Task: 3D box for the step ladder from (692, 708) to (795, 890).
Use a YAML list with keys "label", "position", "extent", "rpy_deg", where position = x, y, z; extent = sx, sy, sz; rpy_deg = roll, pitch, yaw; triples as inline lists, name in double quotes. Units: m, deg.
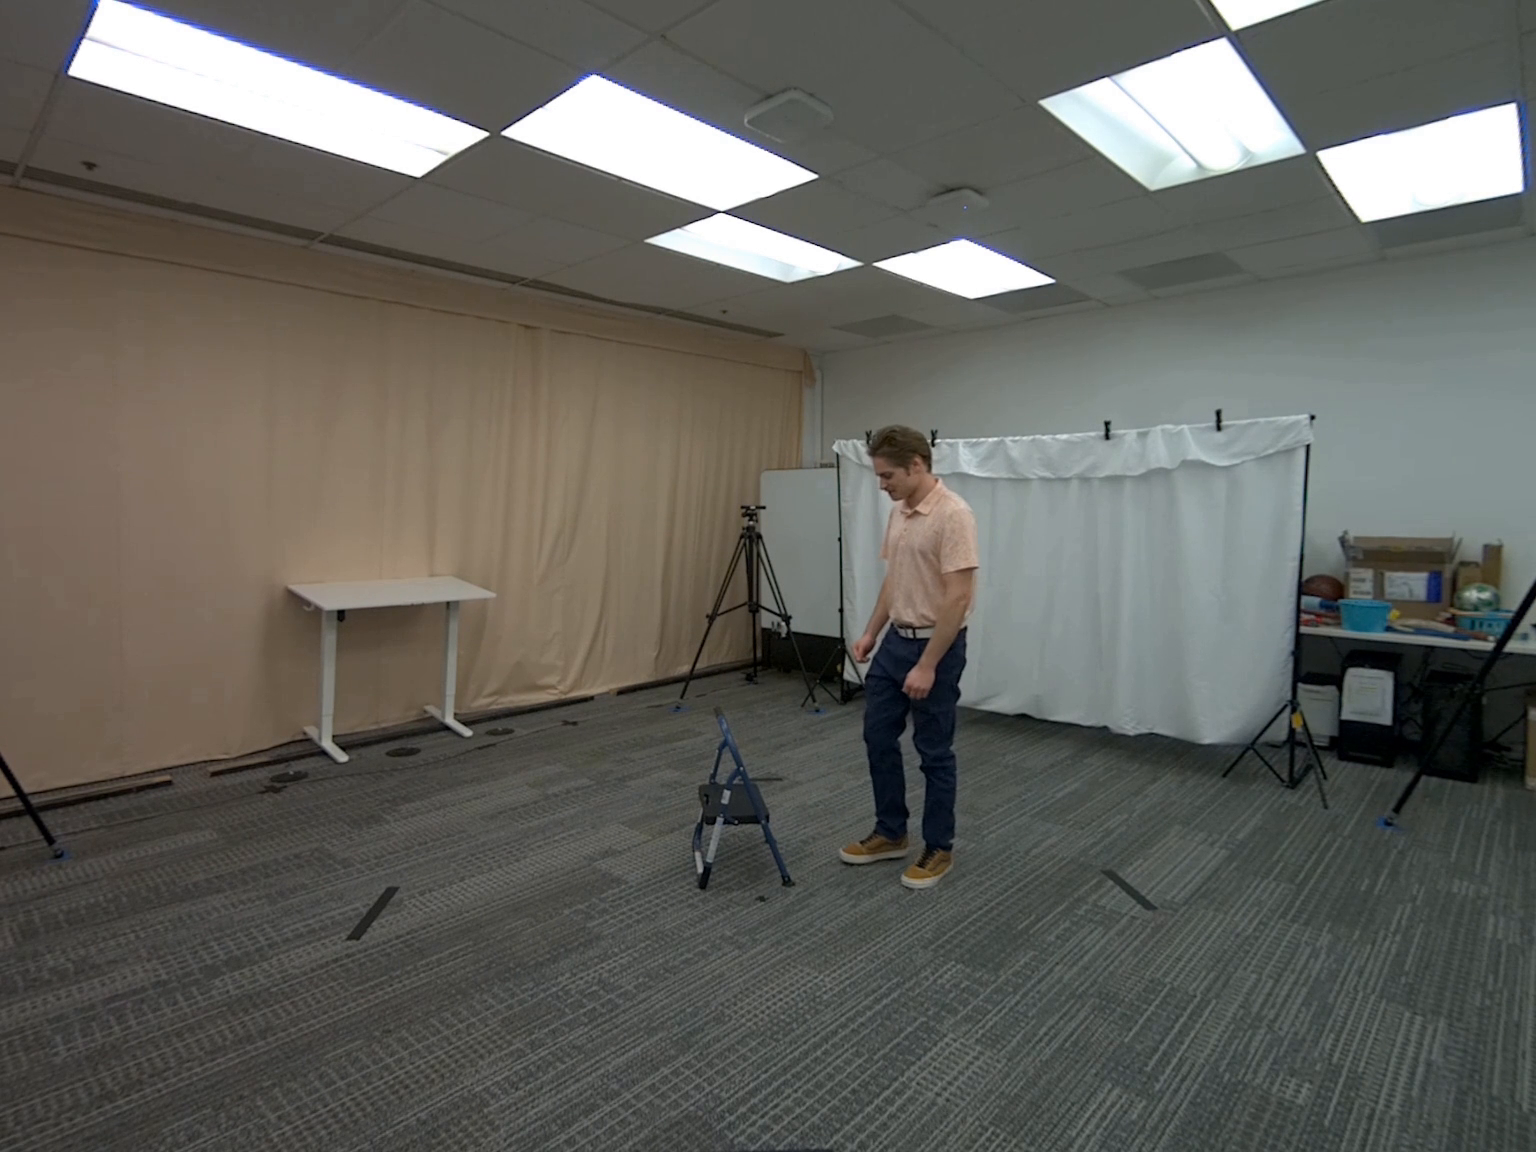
- label: "step ladder"
  position: [-0.112, 0.821, 3.264]
  extent: [0.346, 0.605, 0.435]
  rpy_deg: [-1, 2, -9]
